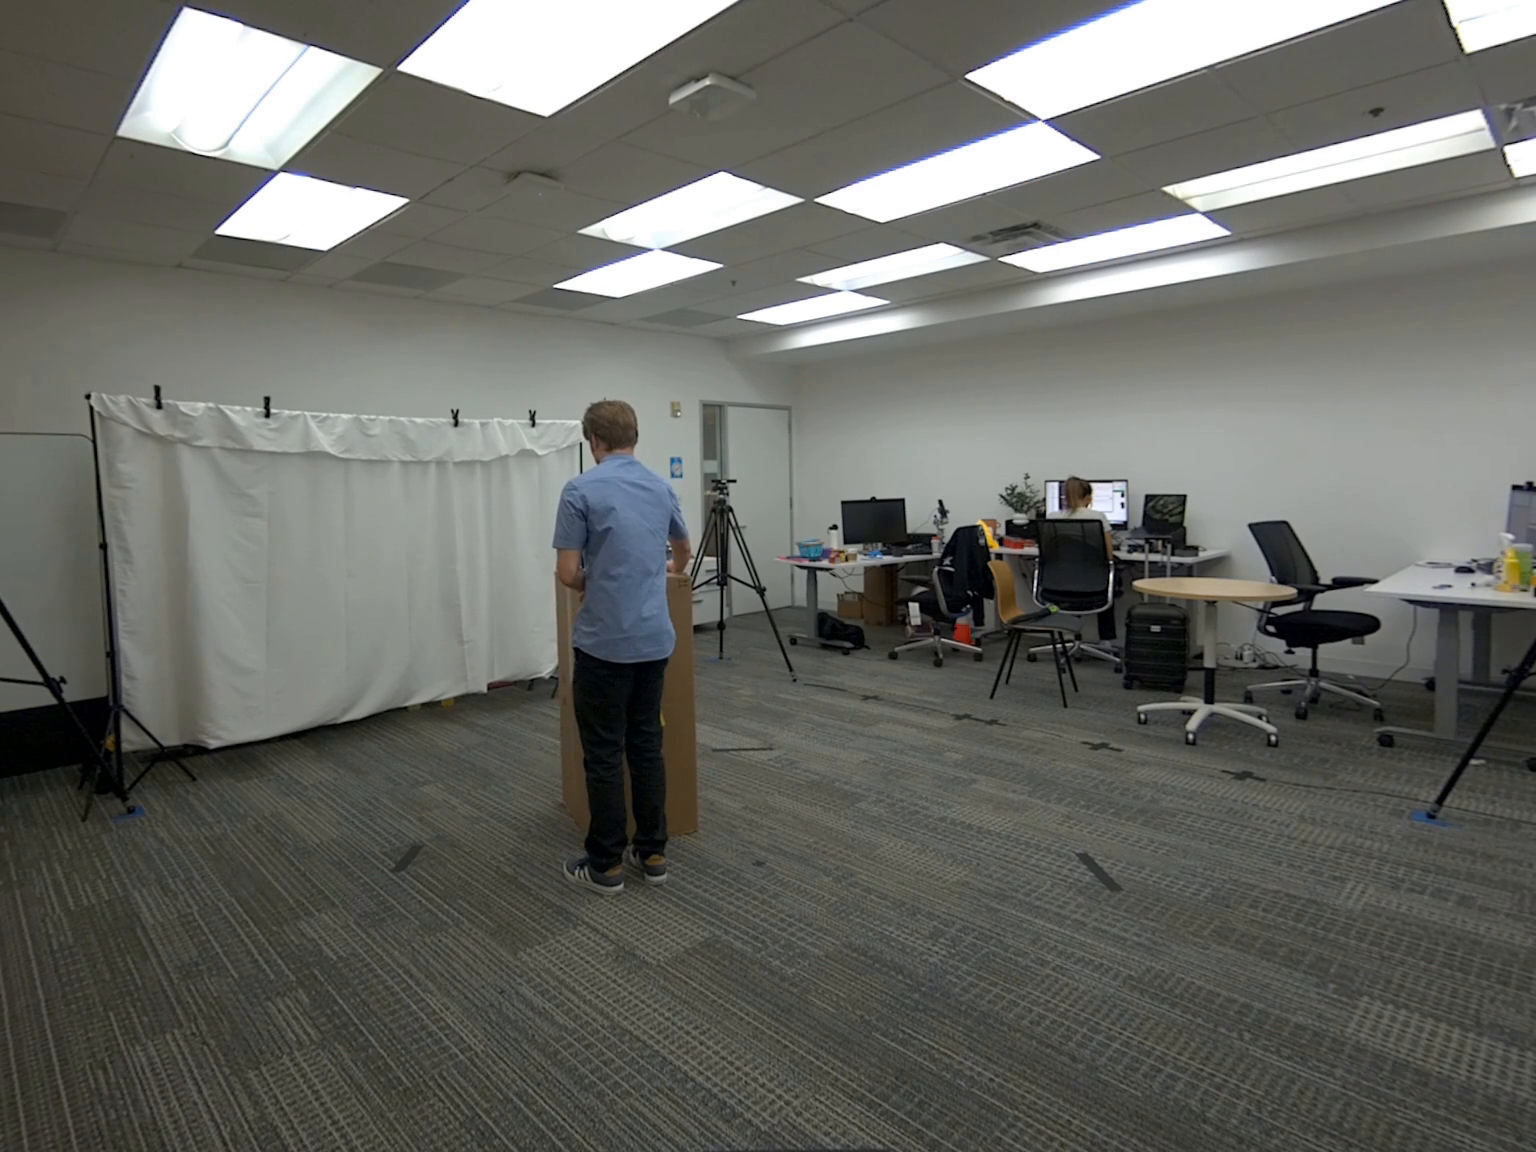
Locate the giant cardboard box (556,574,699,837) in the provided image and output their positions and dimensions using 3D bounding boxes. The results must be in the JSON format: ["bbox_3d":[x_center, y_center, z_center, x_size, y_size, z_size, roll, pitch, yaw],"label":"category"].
[{"bbox_3d":[-0.603,0.502,3.564,0.417,1.023,0.591,-3,3,-25],"label":"giant cardboard box"}]
